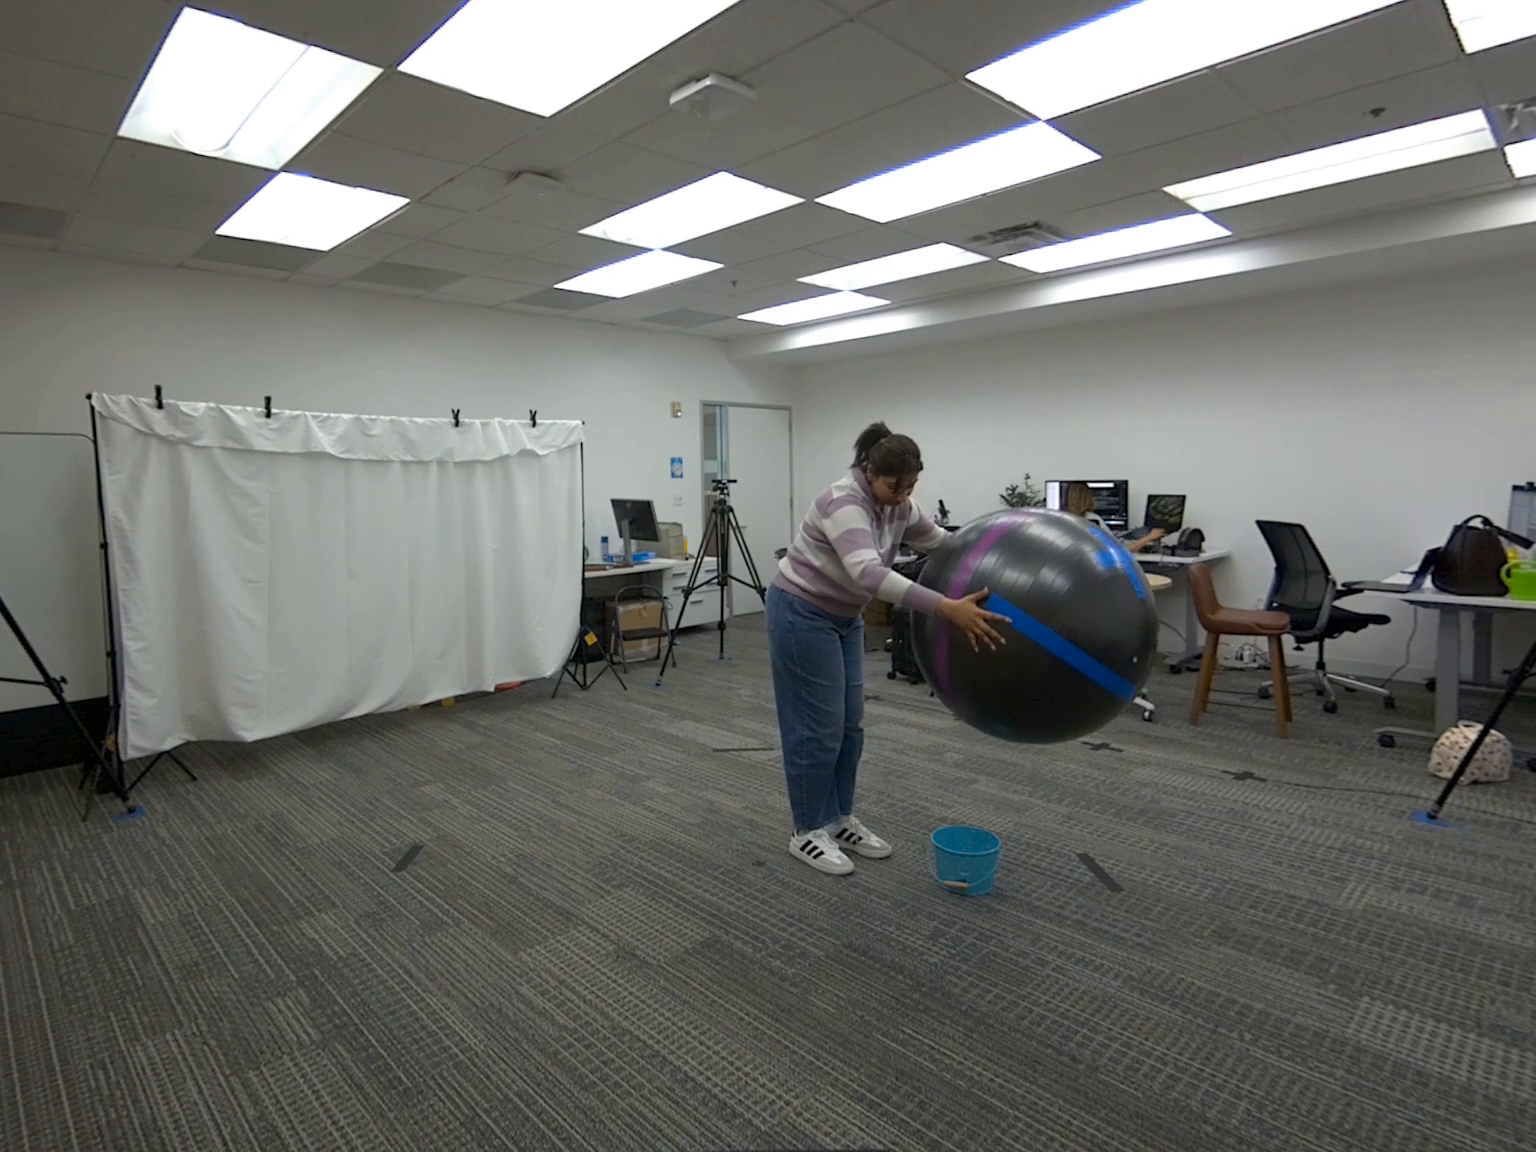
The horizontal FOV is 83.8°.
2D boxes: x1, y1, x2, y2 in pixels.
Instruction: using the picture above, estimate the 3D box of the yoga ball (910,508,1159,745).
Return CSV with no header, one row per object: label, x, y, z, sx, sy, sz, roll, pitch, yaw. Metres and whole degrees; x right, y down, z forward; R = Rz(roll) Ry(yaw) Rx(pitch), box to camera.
yoga ball,0.863,0.162,2.768,0.757,0.755,0.762,-1,5,-2
